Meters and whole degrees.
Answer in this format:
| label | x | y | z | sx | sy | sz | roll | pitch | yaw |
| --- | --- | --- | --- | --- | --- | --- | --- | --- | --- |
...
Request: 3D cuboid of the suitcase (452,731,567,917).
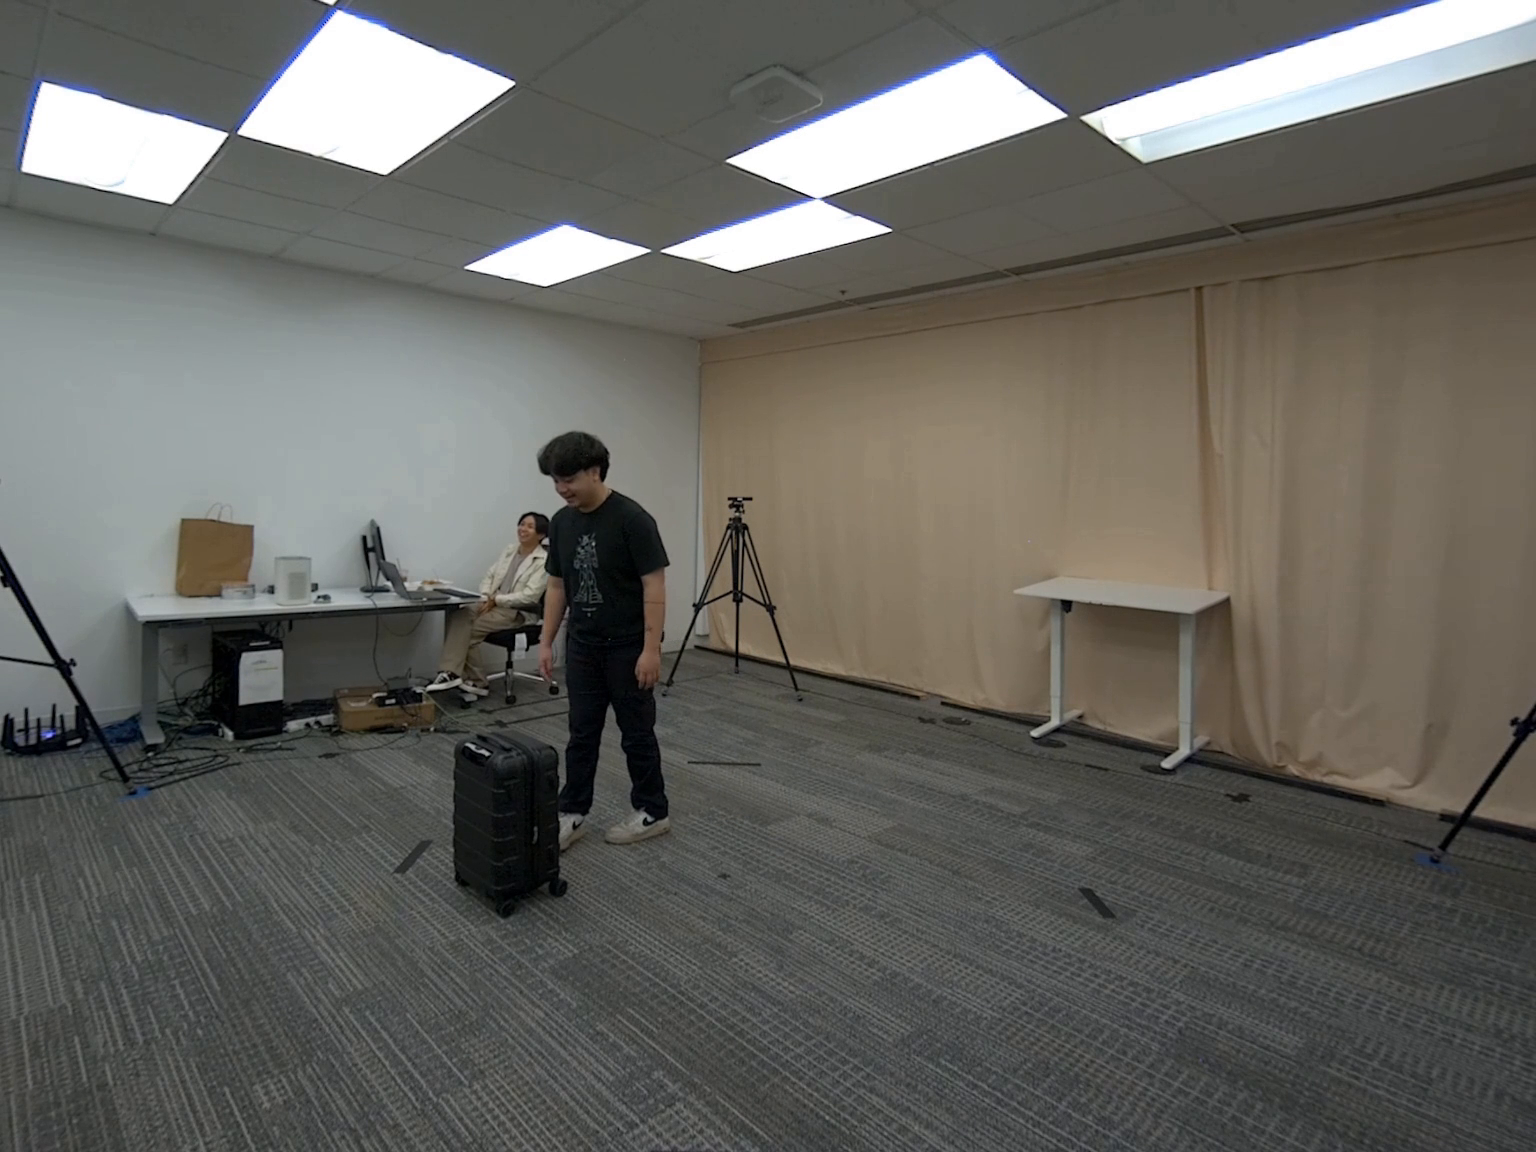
| label | x | y | z | sx | sy | sz | roll | pitch | yaw |
| --- | --- | --- | --- | --- | --- | --- | --- | --- | --- |
| suitcase | -0.924 | 0.832 | 2.932 | 0.243 | 0.547 | 0.385 | -5 | 7 | -43 |
